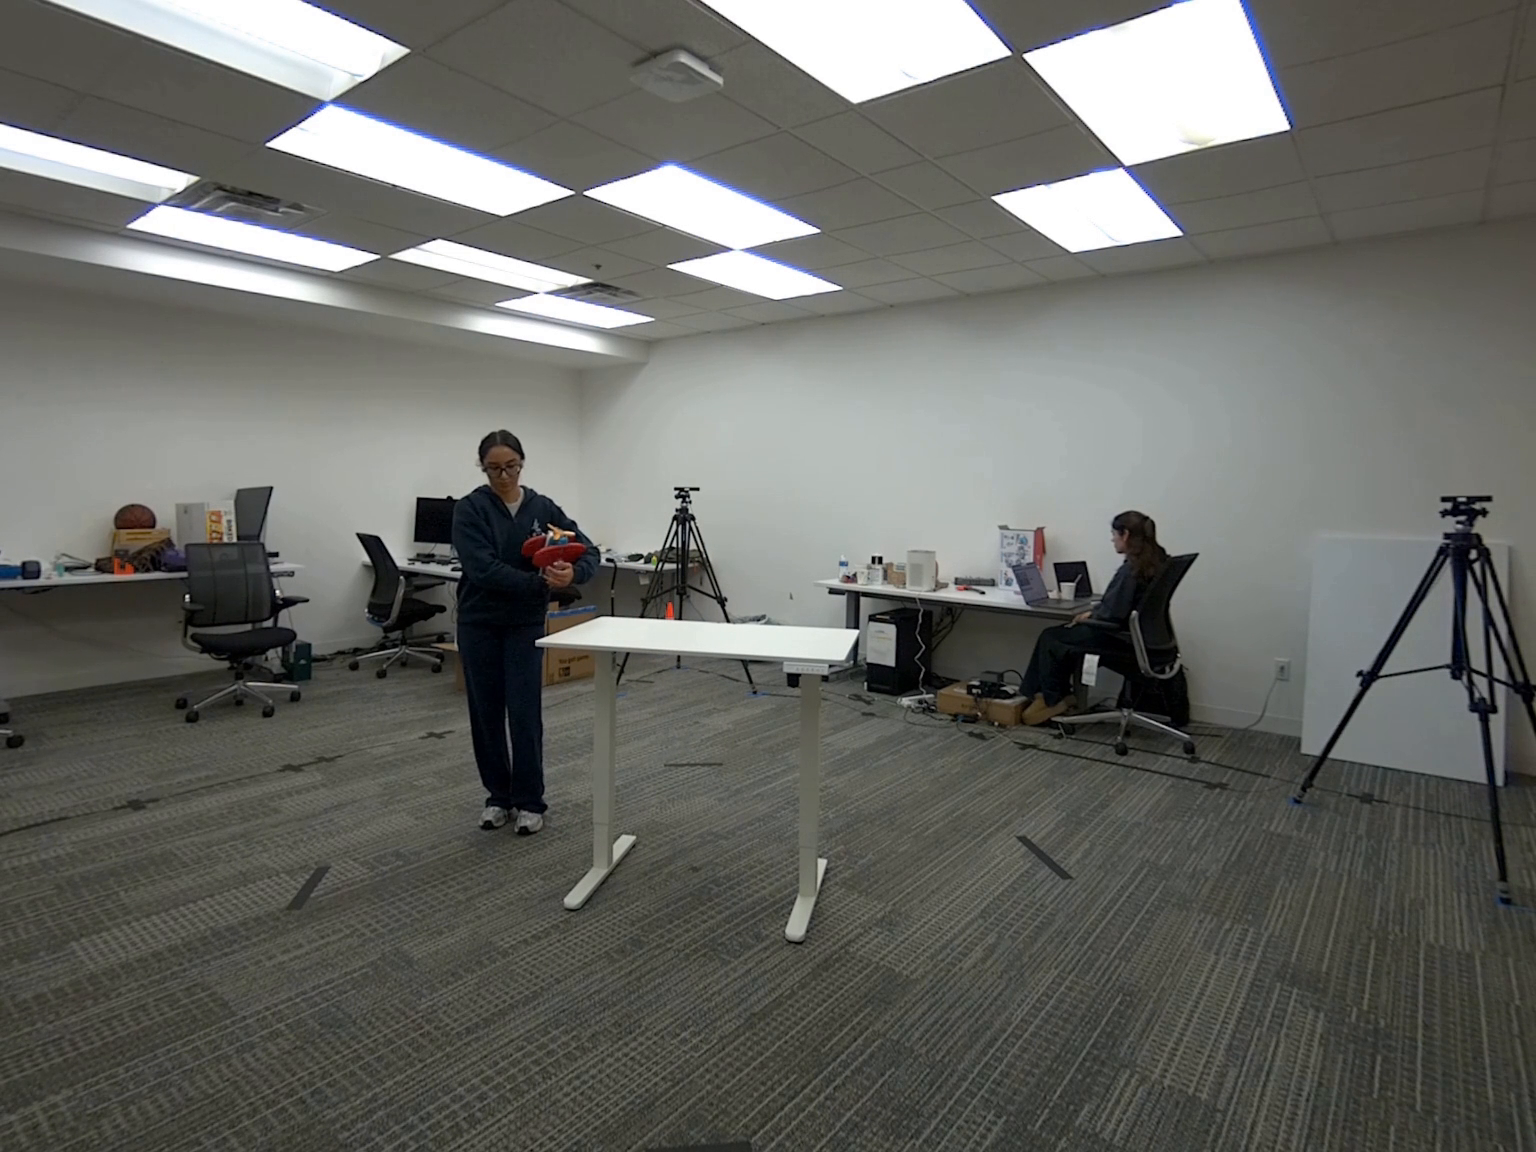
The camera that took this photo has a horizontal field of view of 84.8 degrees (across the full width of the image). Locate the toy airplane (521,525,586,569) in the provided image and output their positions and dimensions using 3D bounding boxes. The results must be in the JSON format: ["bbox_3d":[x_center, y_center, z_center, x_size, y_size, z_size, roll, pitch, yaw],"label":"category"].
[{"bbox_3d":[-0.905,-0.085,3.470,0.162,0.251,0.250,19,46,34],"label":"toy airplane"}]
